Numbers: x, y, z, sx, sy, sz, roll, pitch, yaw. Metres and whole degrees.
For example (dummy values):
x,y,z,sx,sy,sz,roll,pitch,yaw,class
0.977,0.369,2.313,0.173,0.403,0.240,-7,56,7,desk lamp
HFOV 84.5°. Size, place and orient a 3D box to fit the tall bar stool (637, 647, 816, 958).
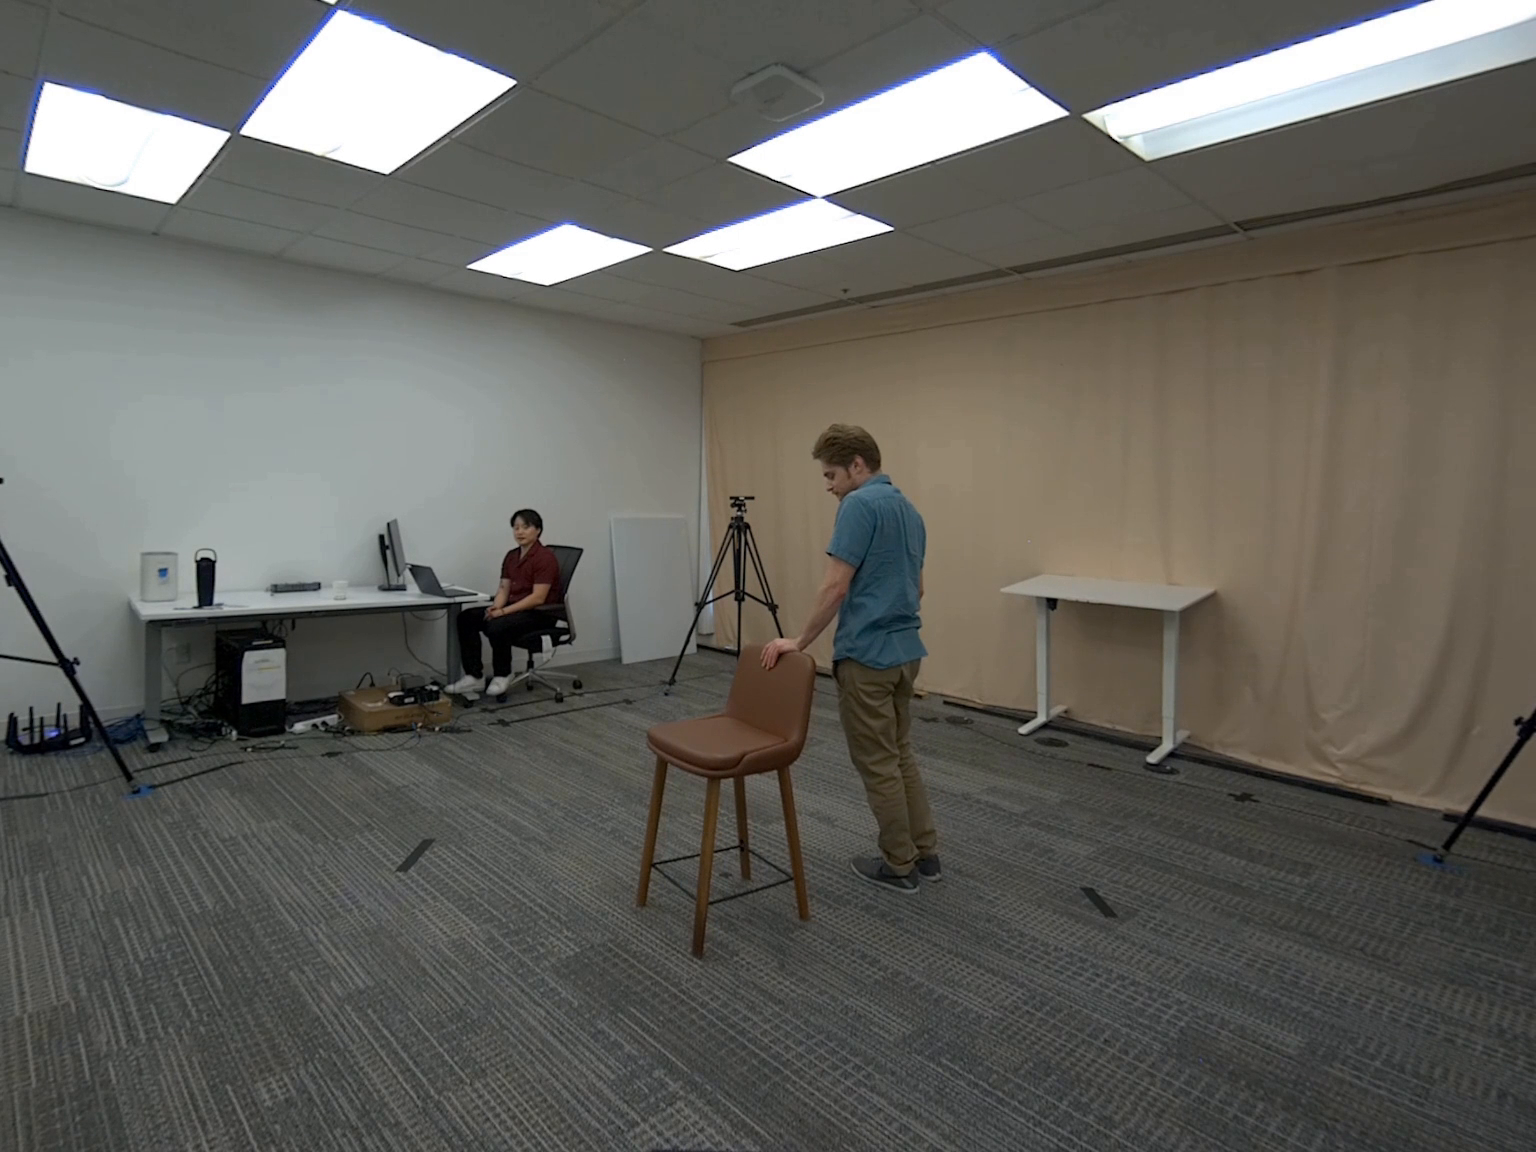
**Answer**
x,y,z,sx,sy,sz,roll,pitch,yaw,class
-0.136,0.696,2.800,0.457,0.888,0.467,1,3,-35,tall bar stool
